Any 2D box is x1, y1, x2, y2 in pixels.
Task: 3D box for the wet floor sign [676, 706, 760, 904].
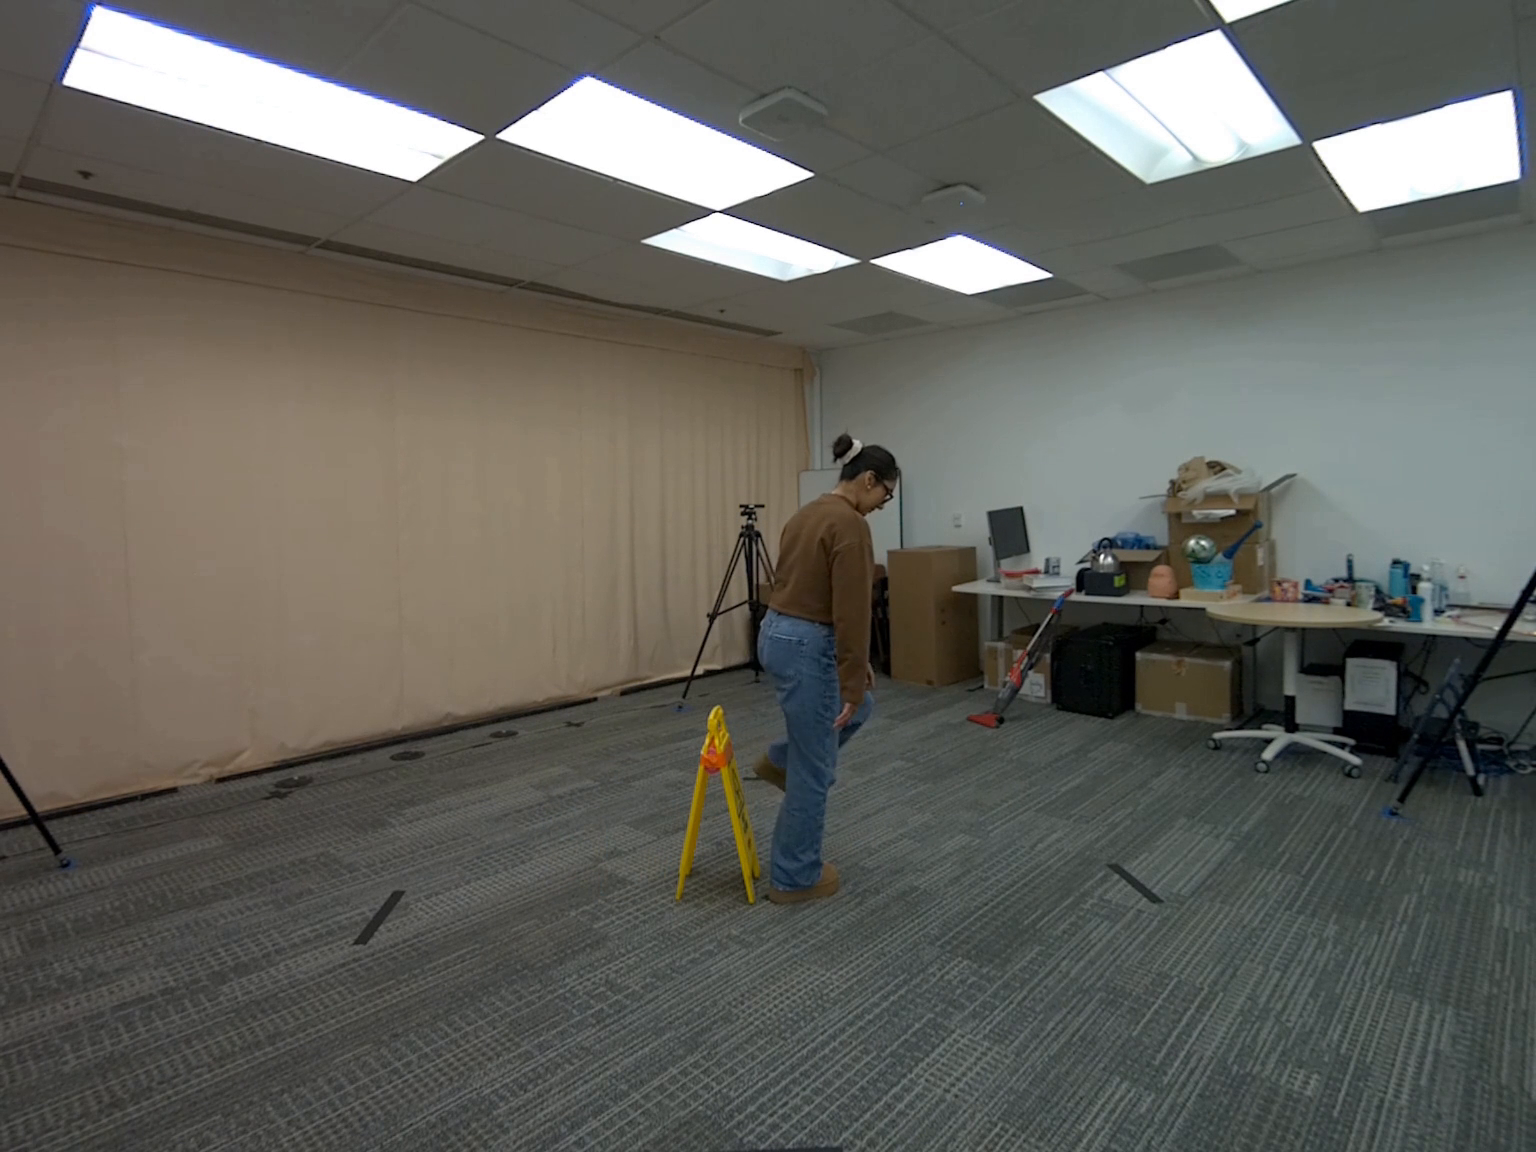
[{"bbox_3d":[-0.187,0.819,3.062,0.292,0.645,0.280,-2,2,6],"label":"wet floor sign"}]
